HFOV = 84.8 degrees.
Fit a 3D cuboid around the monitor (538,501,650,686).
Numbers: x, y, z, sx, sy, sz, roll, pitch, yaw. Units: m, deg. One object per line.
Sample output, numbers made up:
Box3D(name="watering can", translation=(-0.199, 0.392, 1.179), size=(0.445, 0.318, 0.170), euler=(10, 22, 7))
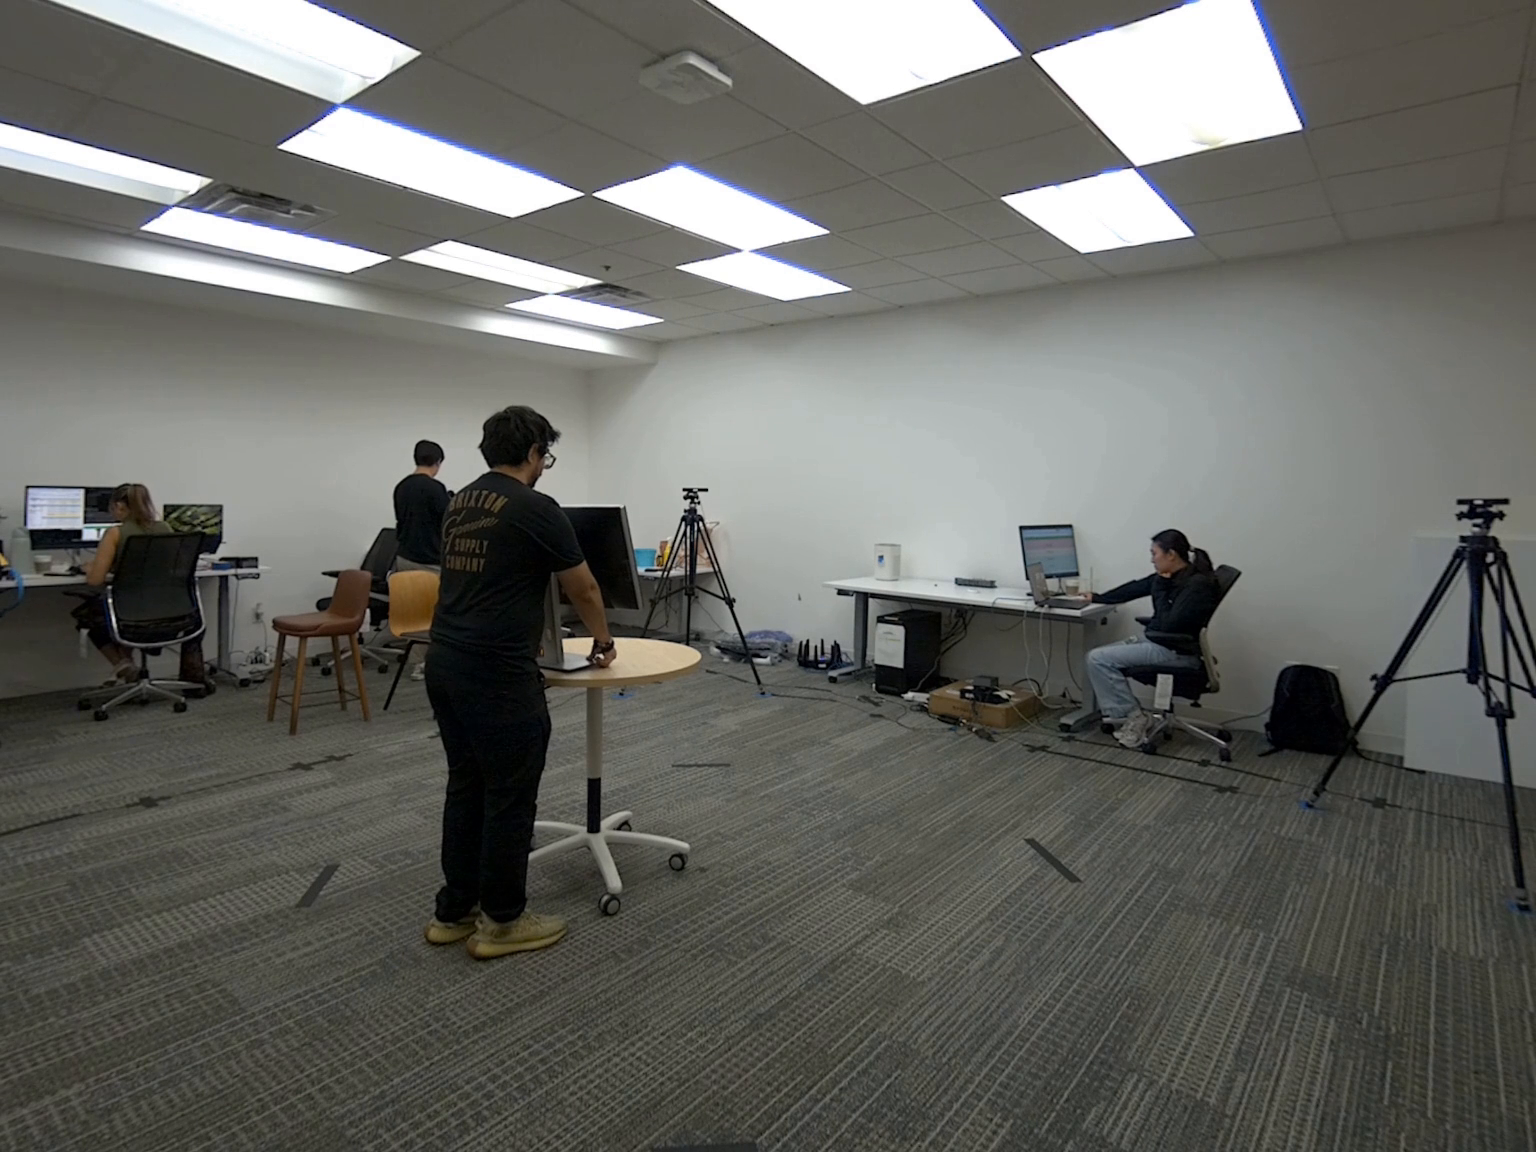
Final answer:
Box3D(name="monitor", translation=(-0.720, 0.036, 2.866), size=(0.582, 0.548, 0.206), euler=(4, 13, 31))
